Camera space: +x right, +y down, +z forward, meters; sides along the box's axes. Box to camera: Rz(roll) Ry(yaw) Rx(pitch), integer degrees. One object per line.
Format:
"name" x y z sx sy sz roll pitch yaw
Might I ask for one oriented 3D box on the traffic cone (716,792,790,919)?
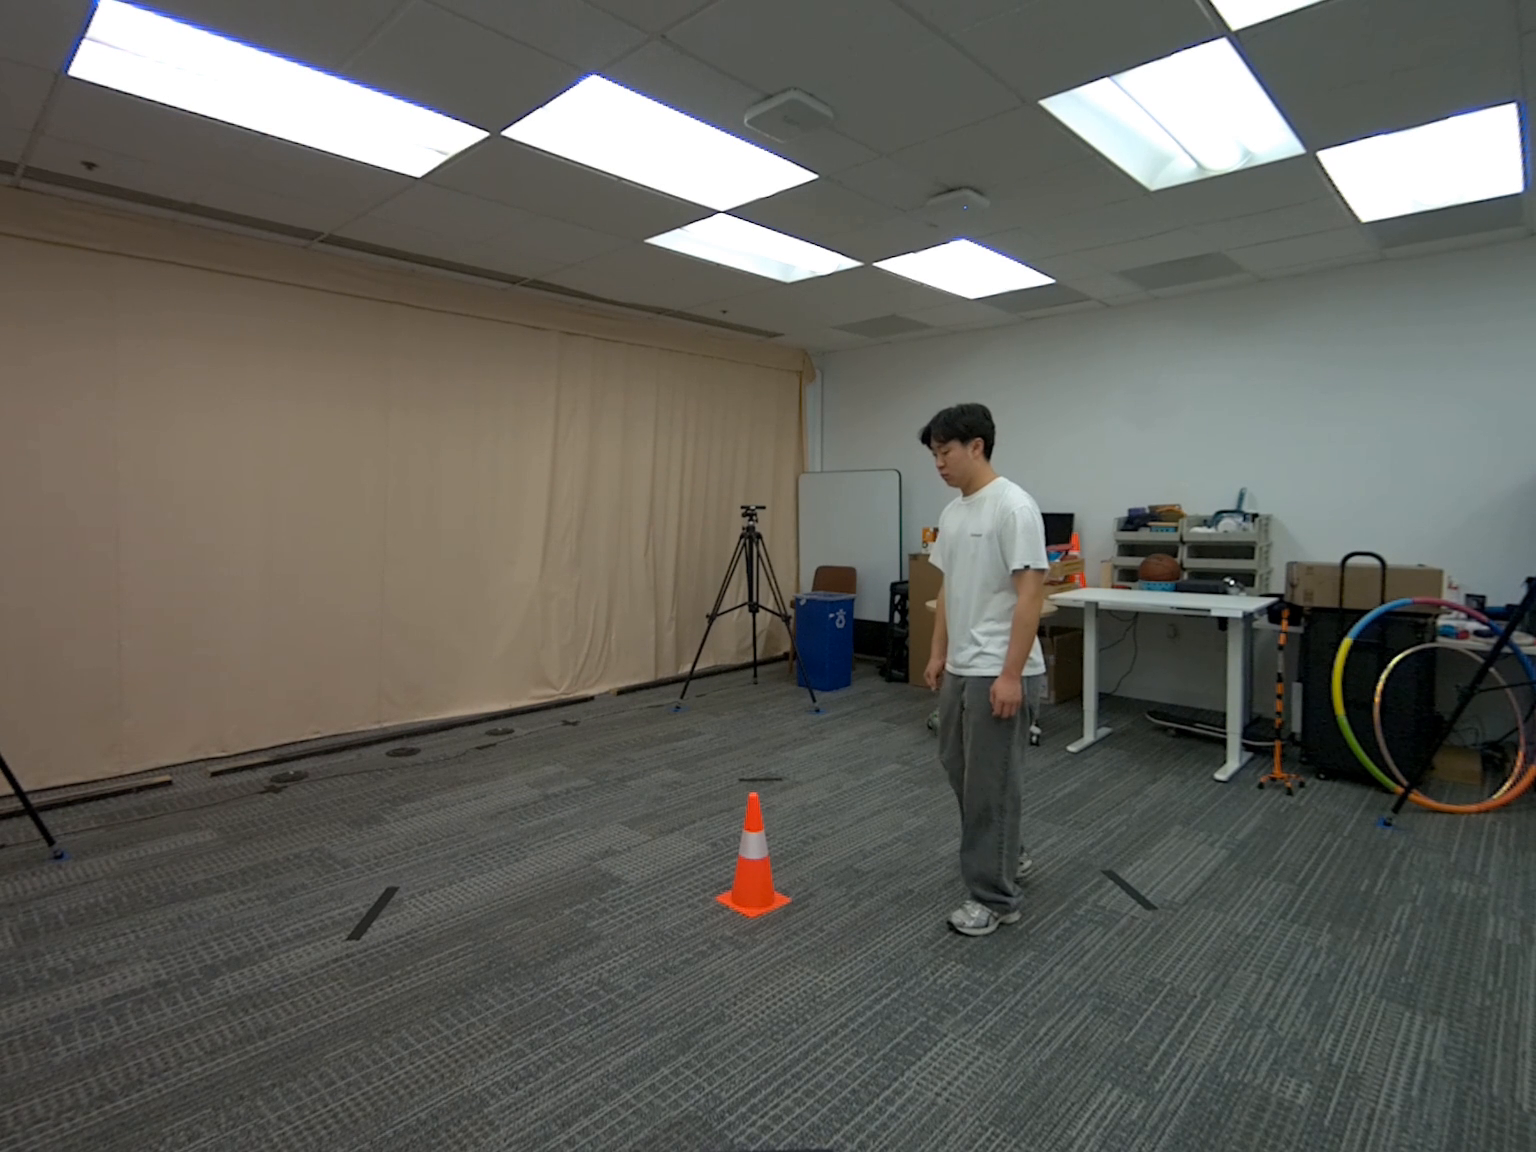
"traffic cone" -0.036 0.967 2.966 0.210 0.383 0.199 5 5 43
